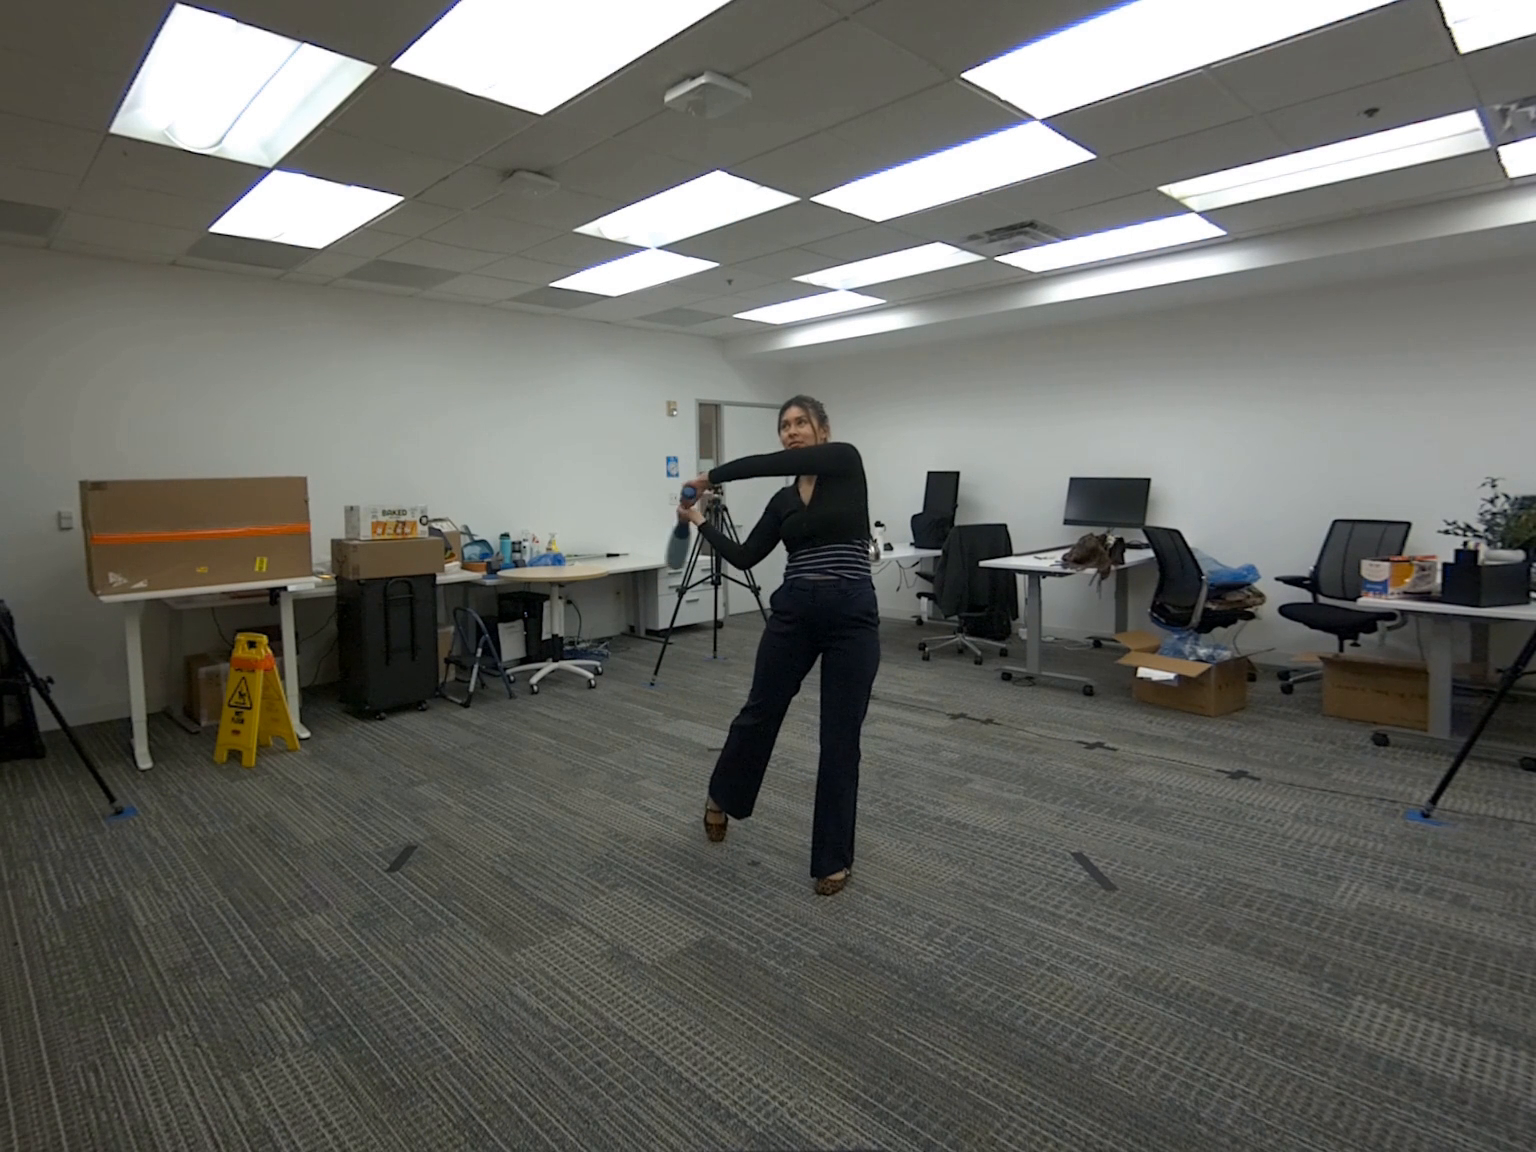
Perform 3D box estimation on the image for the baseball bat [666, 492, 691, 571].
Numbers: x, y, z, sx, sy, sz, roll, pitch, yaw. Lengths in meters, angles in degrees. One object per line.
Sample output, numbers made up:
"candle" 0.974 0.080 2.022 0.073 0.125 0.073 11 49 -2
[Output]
"baseball bat" -0.298 -0.190 3.209 0.088 0.091 0.533 -1 -28 -8
